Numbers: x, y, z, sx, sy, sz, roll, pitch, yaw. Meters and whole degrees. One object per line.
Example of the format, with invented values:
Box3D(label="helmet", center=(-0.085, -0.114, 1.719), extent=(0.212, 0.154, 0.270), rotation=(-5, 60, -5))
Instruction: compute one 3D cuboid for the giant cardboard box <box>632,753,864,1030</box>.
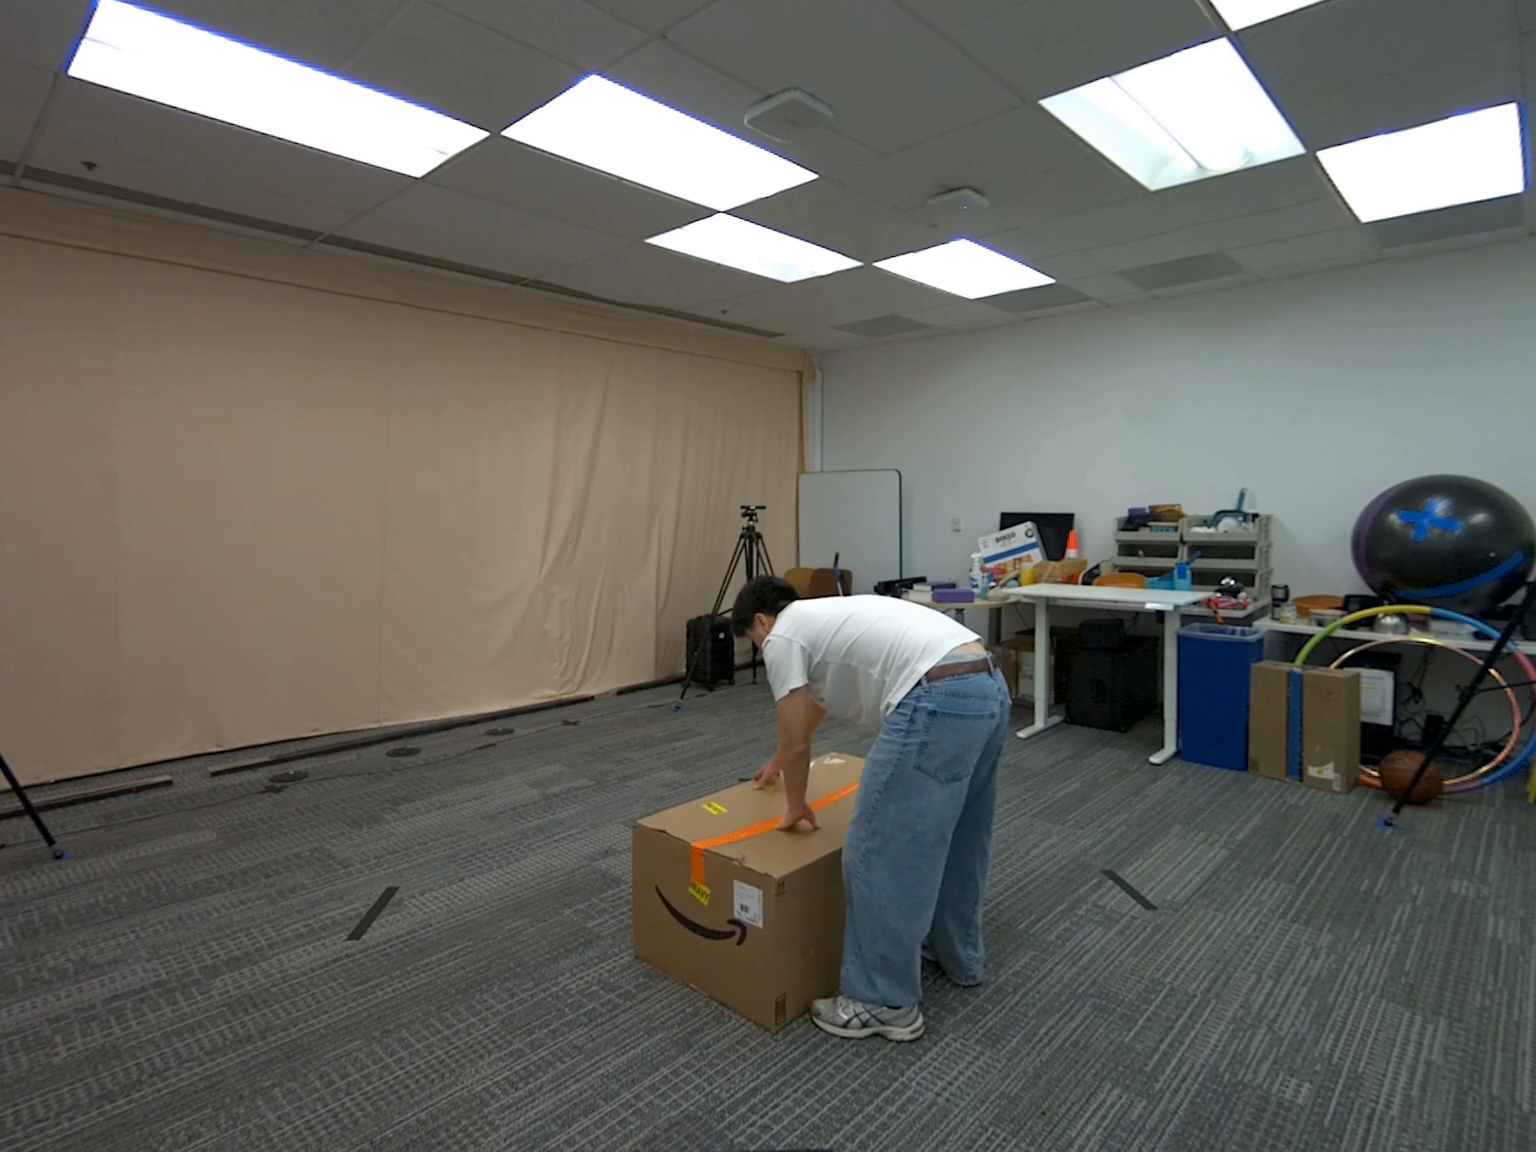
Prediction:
Box3D(label="giant cardboard box", center=(0.136, 0.952, 2.764), extent=(0.597, 0.425, 0.995), rotation=(3, 6, 43))
